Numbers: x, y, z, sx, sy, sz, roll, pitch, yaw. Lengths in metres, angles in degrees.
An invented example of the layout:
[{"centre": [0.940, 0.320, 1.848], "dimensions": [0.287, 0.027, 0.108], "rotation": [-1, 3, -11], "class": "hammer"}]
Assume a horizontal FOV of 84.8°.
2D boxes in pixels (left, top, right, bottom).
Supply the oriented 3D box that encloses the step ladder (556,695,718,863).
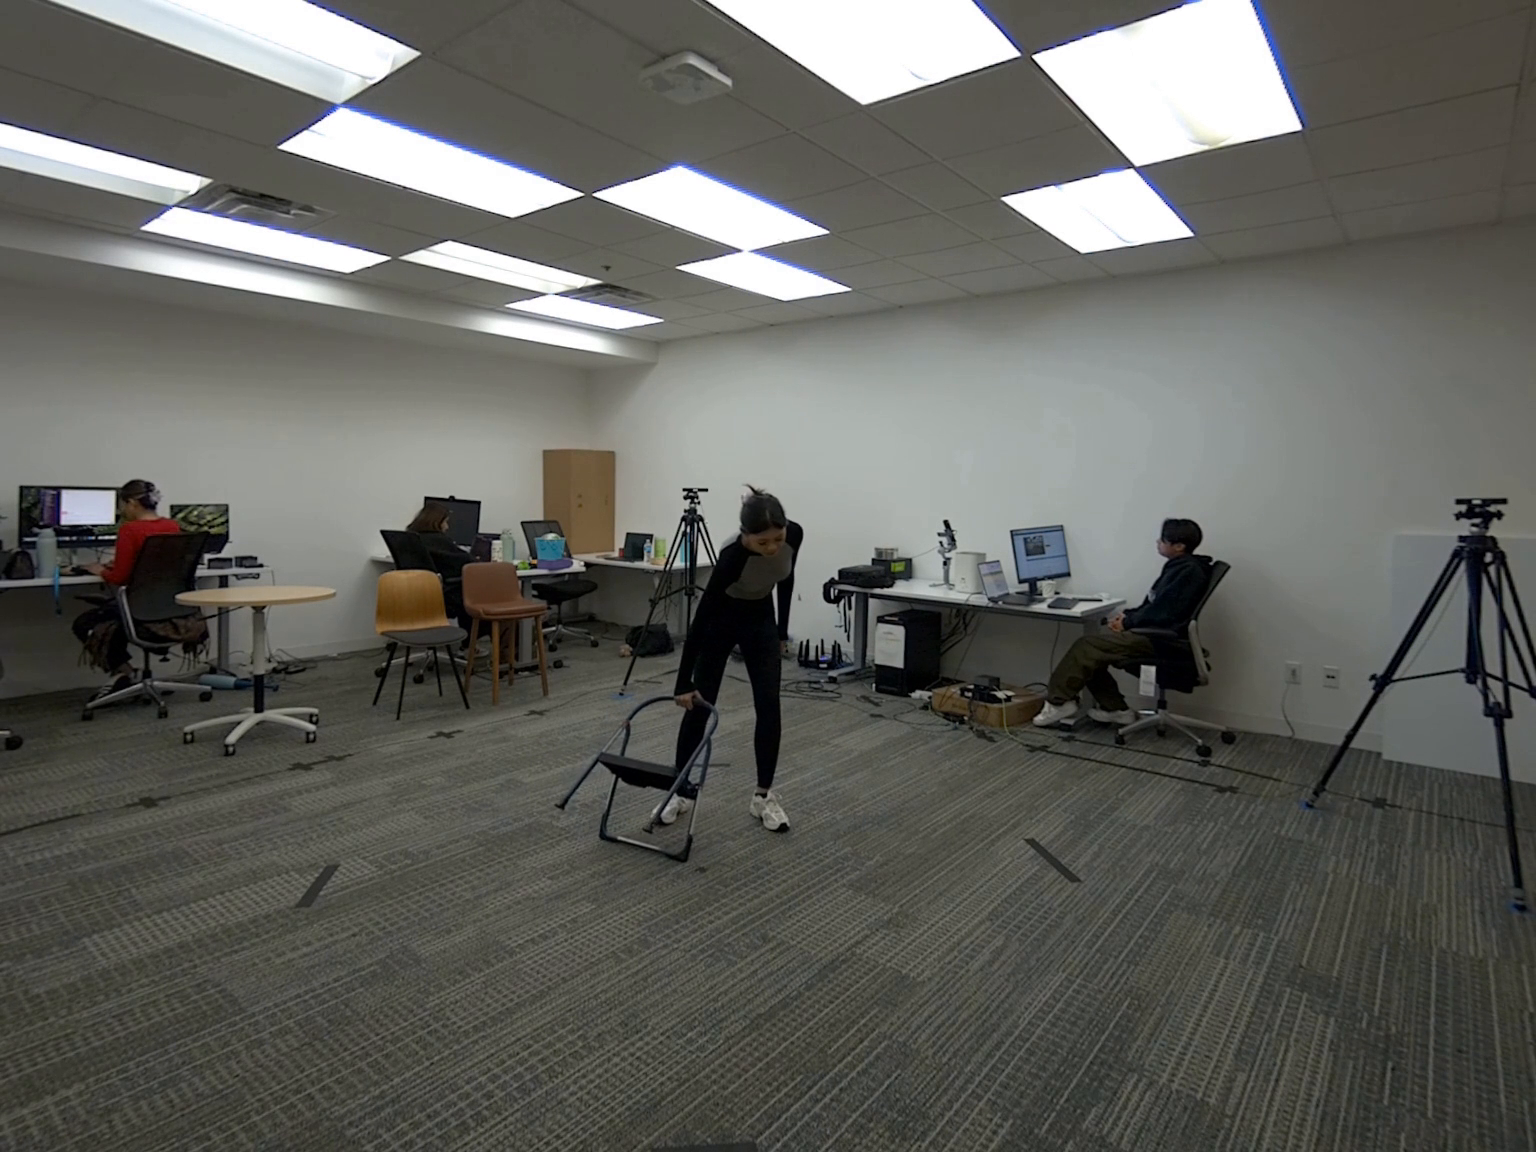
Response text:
[{"centre": [-0.460, 0.715, 3.304], "dimensions": [0.443, 0.614, 0.335], "rotation": [3, -34, 28], "class": "step ladder"}]
